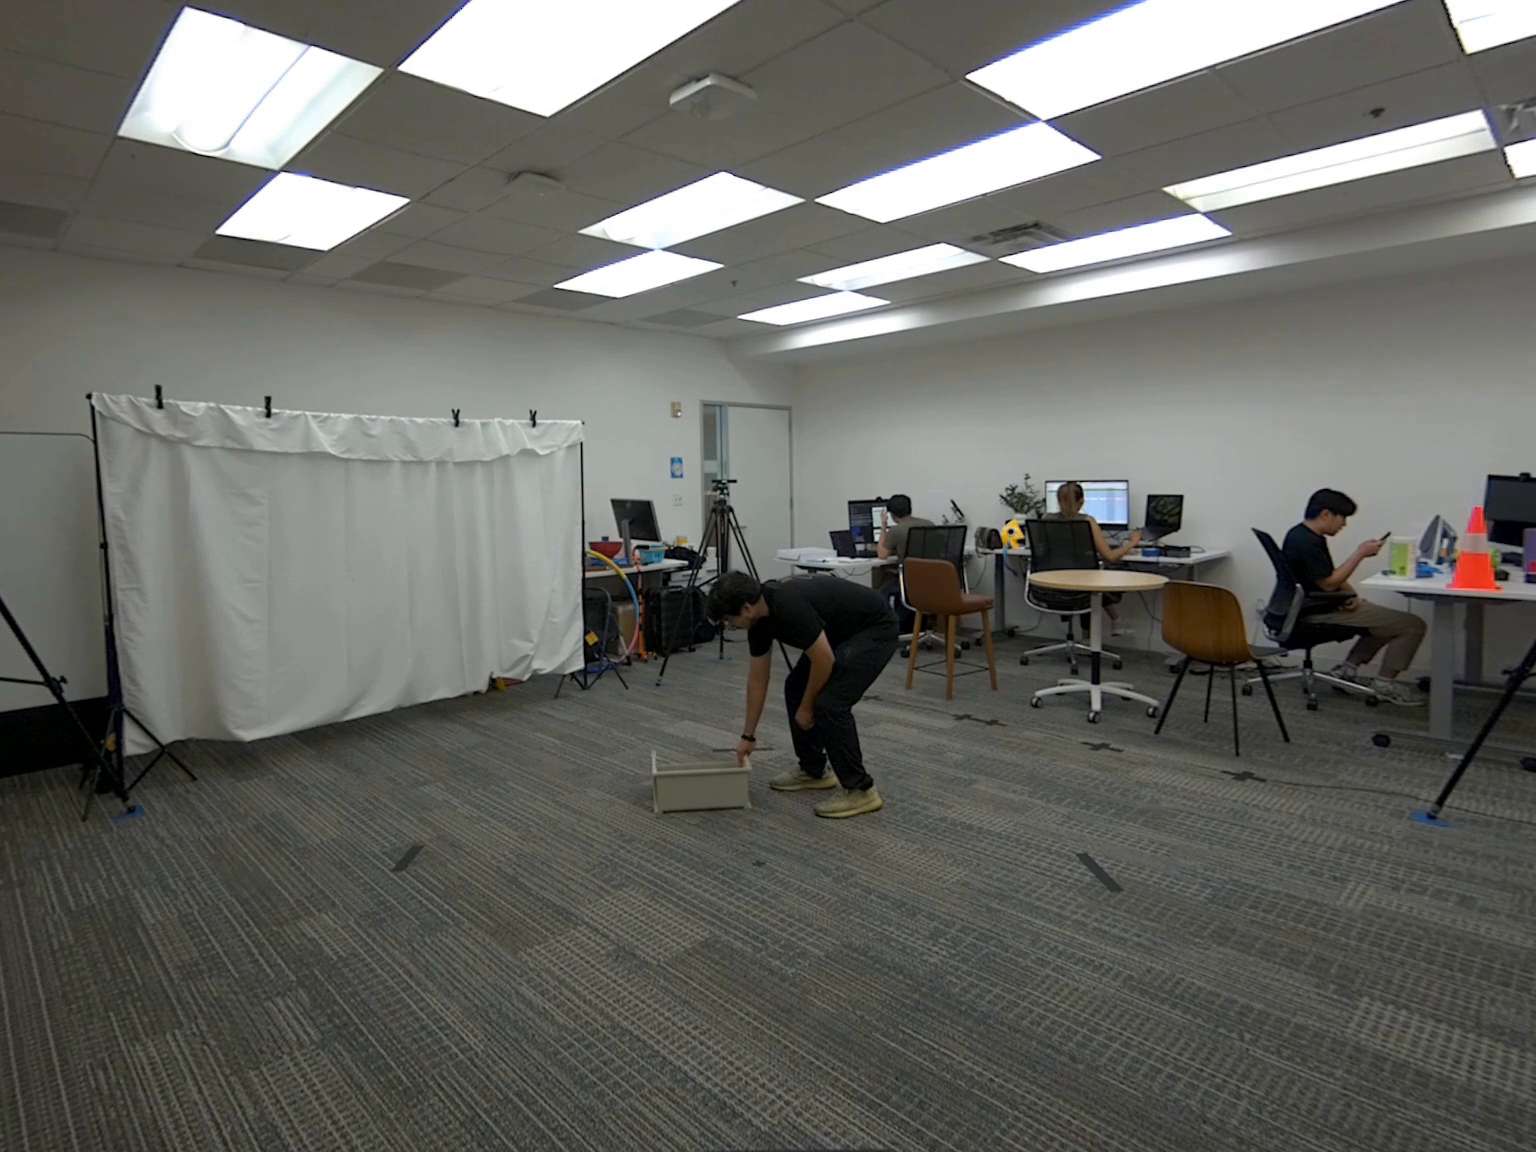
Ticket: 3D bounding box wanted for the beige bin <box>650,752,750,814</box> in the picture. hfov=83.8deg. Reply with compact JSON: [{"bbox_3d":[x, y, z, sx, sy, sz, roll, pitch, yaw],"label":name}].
[{"bbox_3d":[-0.298,0.891,3.792,0.419,0.188,0.382,0,7,-7],"label":"beige bin"}]
